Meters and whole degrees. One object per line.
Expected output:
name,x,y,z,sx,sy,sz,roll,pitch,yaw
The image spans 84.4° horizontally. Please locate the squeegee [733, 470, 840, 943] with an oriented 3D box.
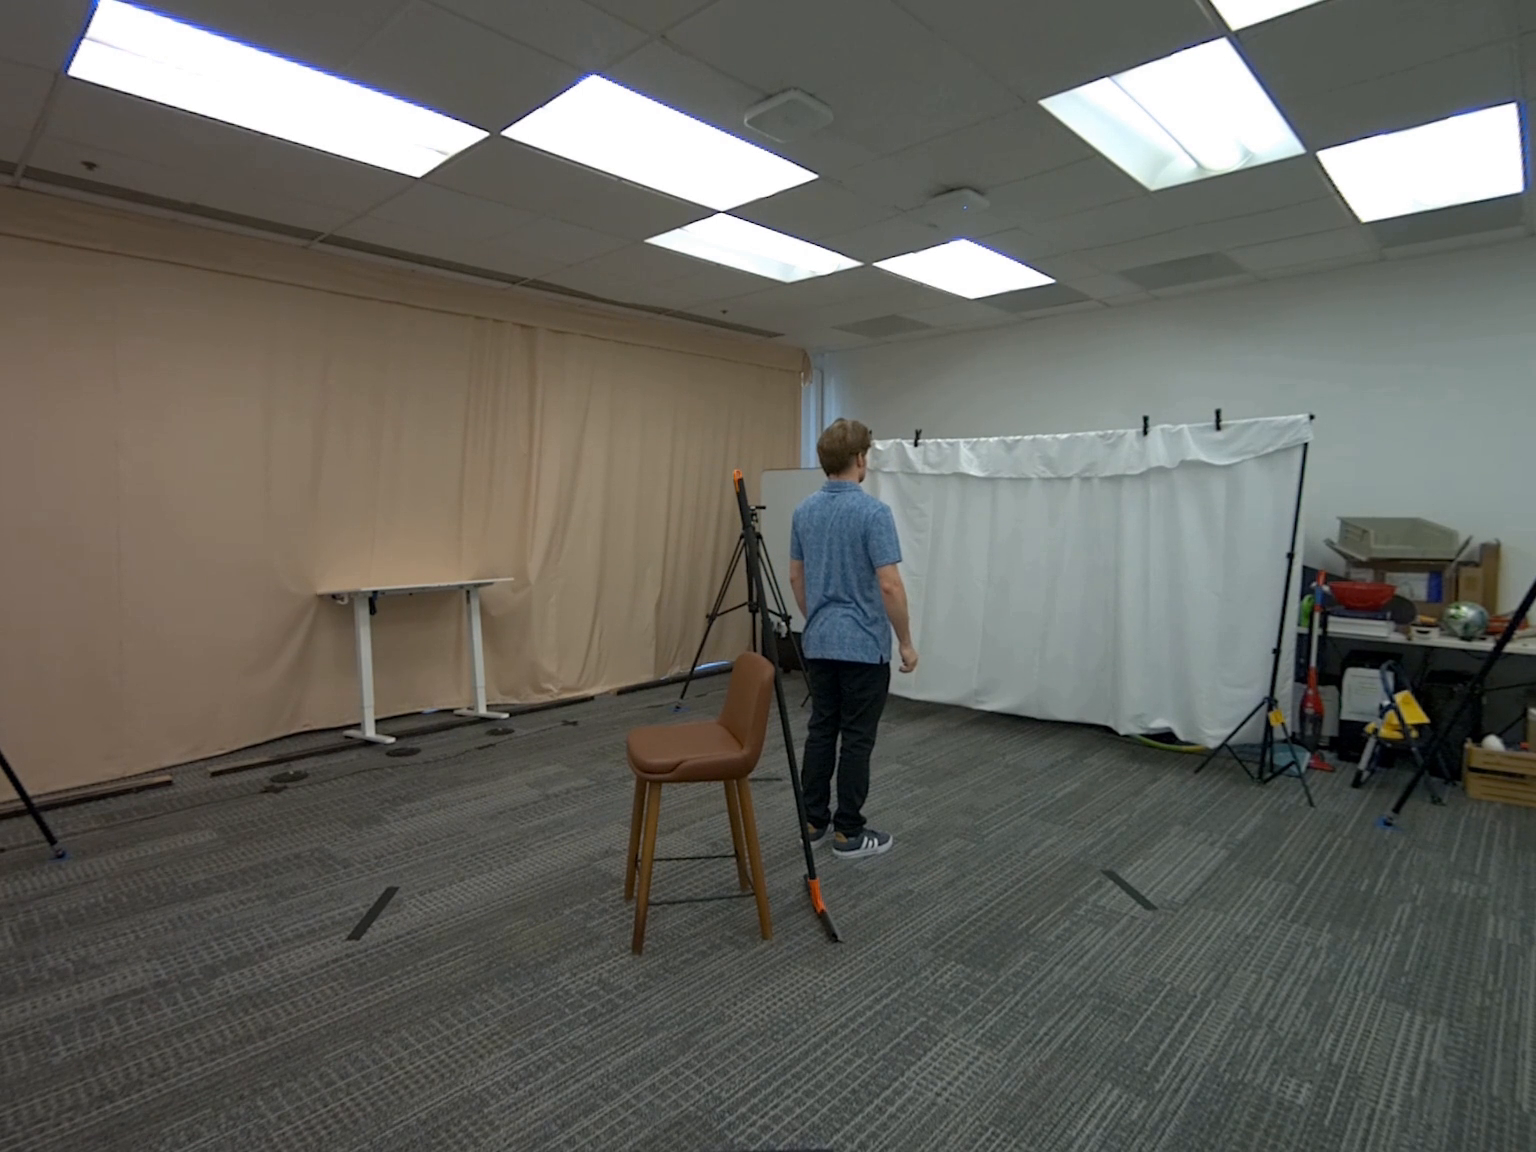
squeegee,0.054,0.387,2.855,0.052,1.534,0.444,-9,3,-14
